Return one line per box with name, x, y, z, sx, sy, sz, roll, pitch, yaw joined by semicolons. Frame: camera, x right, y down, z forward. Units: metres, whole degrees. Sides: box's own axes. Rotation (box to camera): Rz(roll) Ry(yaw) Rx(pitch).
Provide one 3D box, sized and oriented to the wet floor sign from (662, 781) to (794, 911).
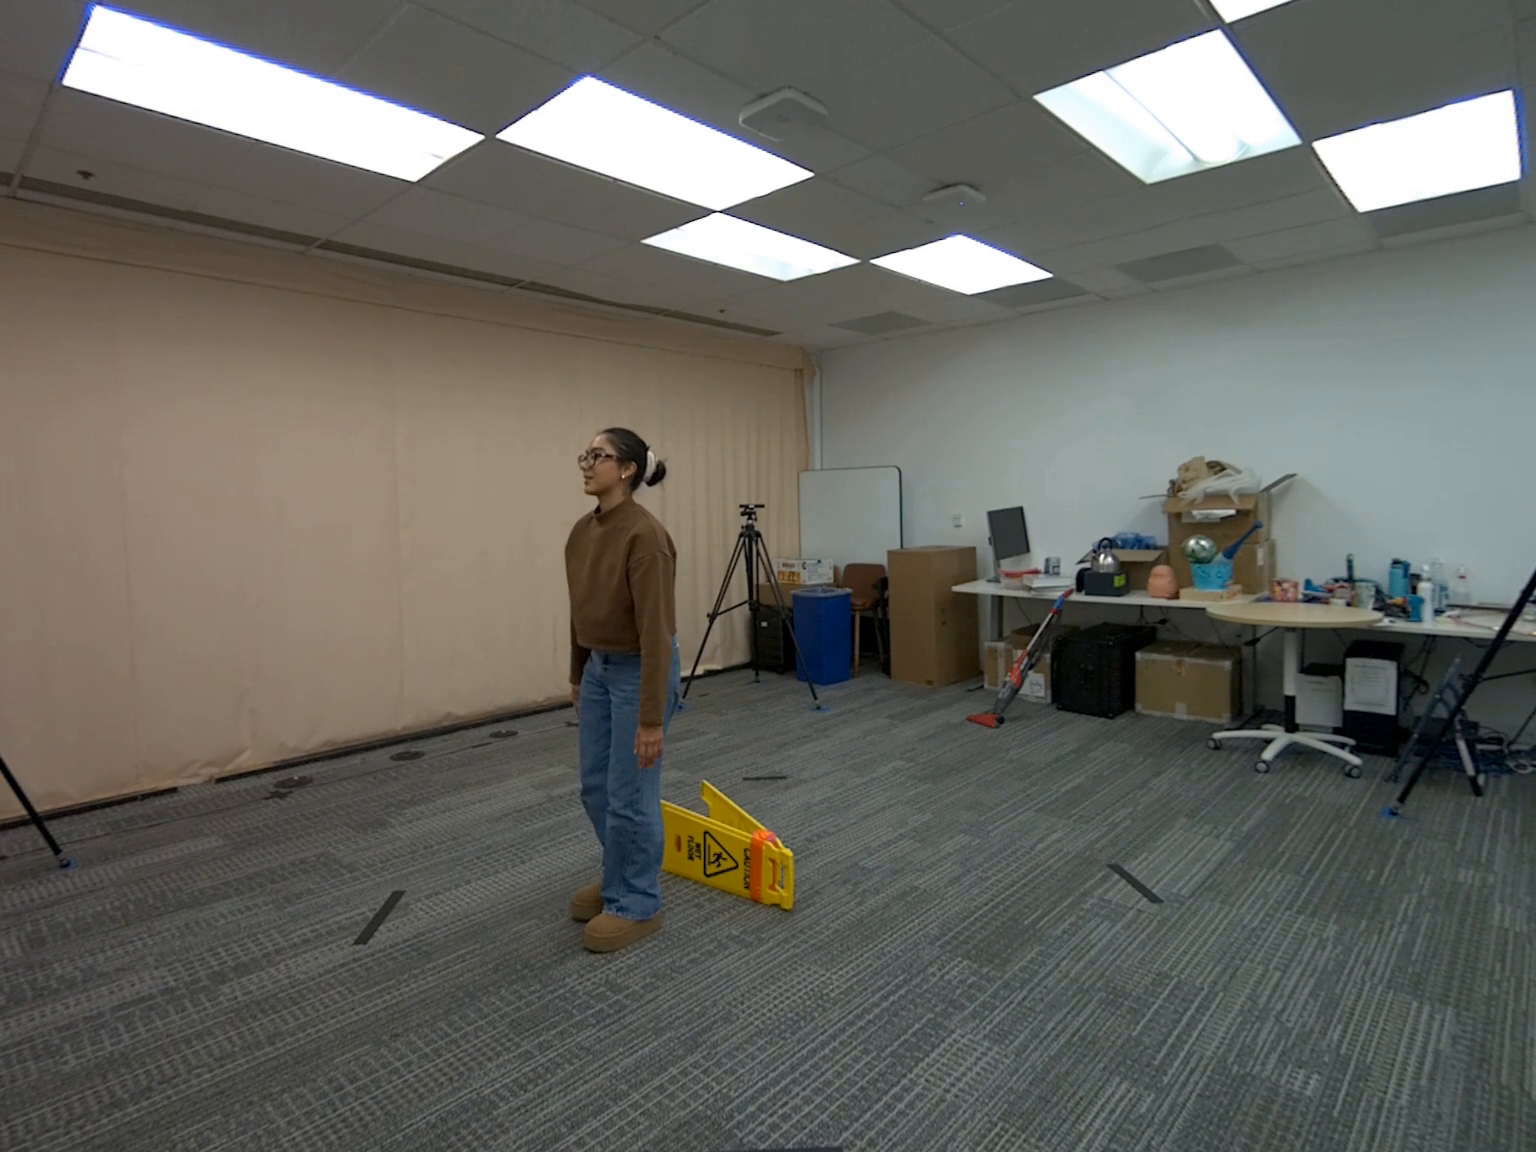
wet floor sign;-0.138;1.007;3.106;0.281;0.281;0.668;-4;8;-42
